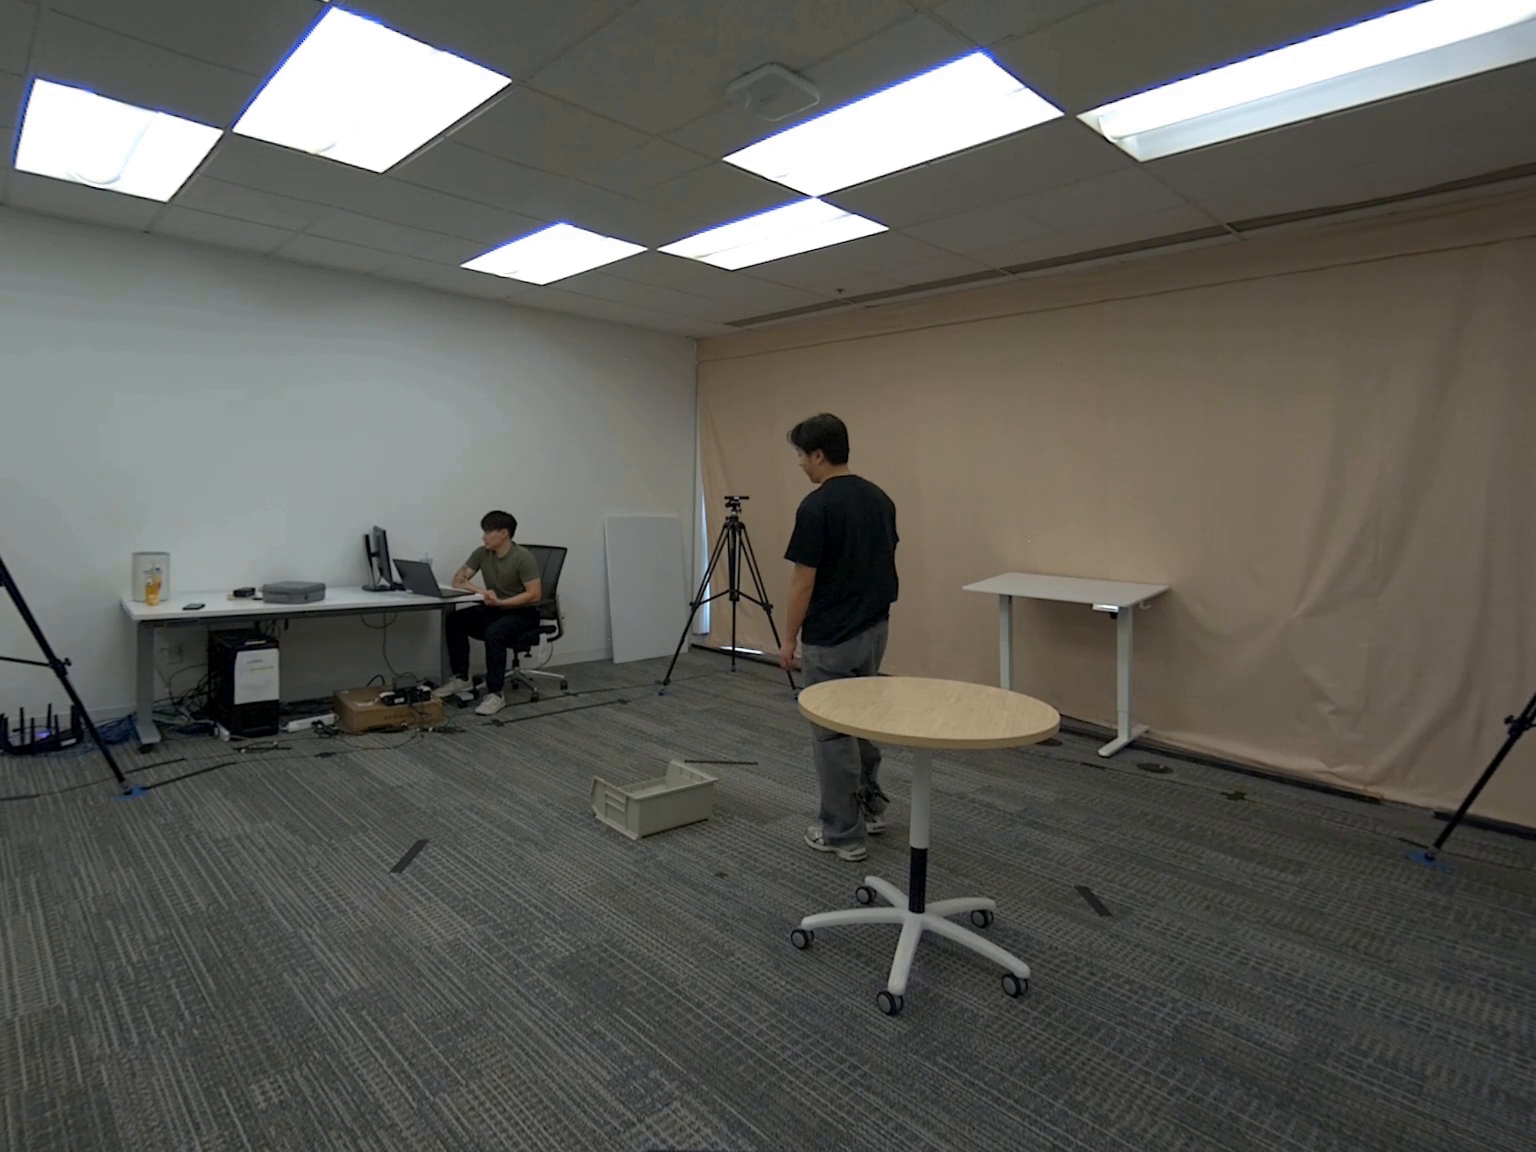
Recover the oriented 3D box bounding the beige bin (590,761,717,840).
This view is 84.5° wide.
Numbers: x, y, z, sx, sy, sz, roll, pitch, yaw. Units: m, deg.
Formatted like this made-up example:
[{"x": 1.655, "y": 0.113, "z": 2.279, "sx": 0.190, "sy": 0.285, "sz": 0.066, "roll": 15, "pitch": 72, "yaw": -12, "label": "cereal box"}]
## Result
[{"x": -0.503, "y": 0.953, "z": 3.653, "sx": 0.413, "sy": 0.188, "sz": 0.387, "roll": -2, "pitch": 7, "yaw": -41, "label": "beige bin"}]
